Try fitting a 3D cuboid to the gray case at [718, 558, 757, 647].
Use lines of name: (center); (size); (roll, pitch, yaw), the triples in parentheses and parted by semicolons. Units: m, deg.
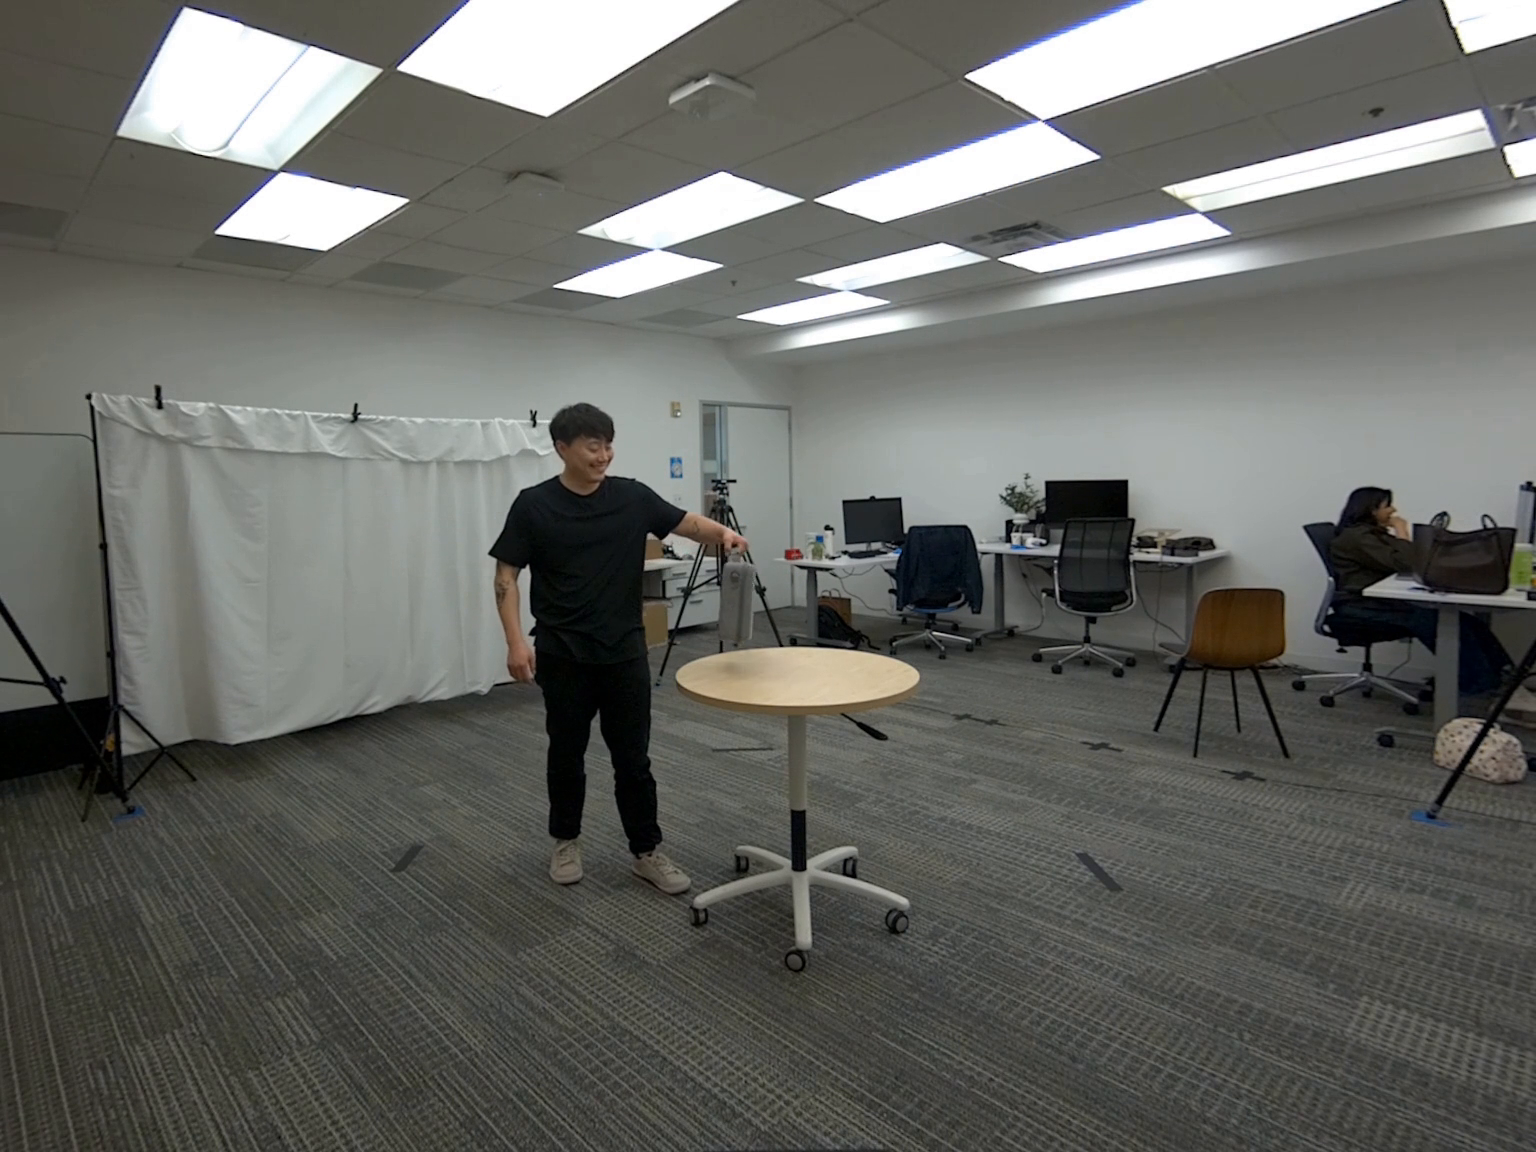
gray case: (-0.102, 0.082, 2.756); (0.104, 0.261, 0.257); (6, -1, -2)
